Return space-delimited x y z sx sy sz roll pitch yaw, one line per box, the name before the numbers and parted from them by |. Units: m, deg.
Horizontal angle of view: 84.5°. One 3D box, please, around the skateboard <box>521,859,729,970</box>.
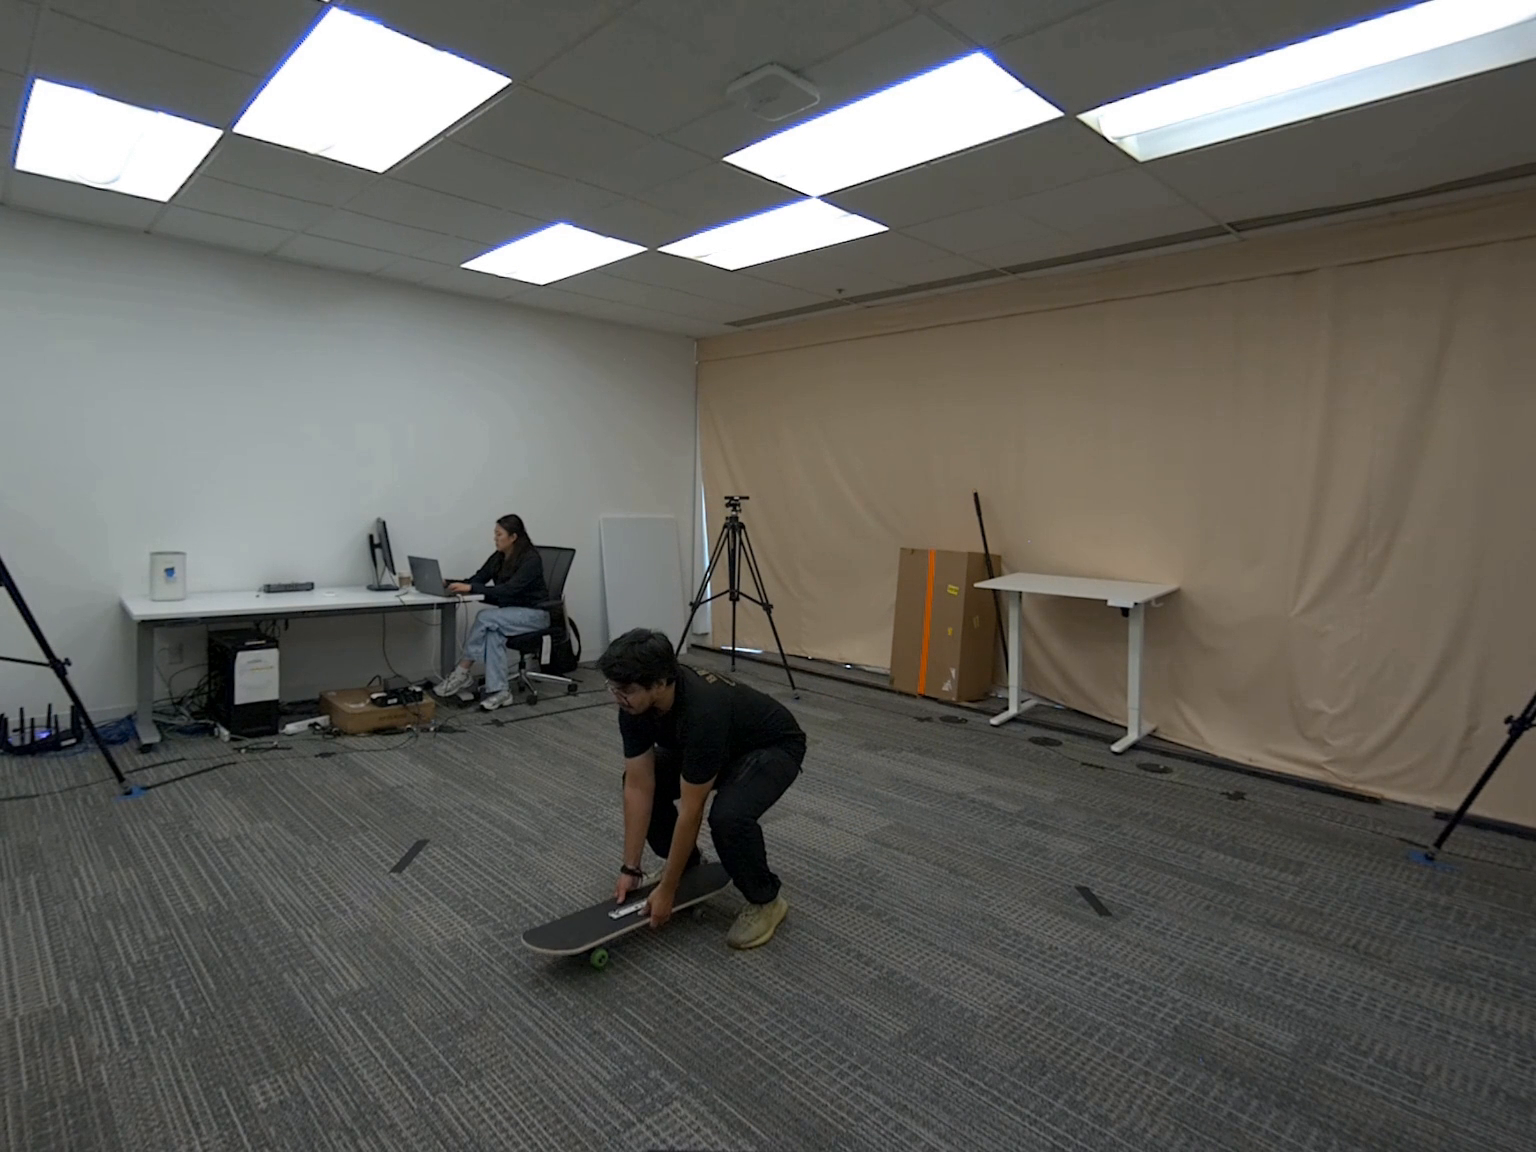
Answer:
skateboard | -0.420 1.065 2.641 0.198 0.110 0.767 3 5 44
